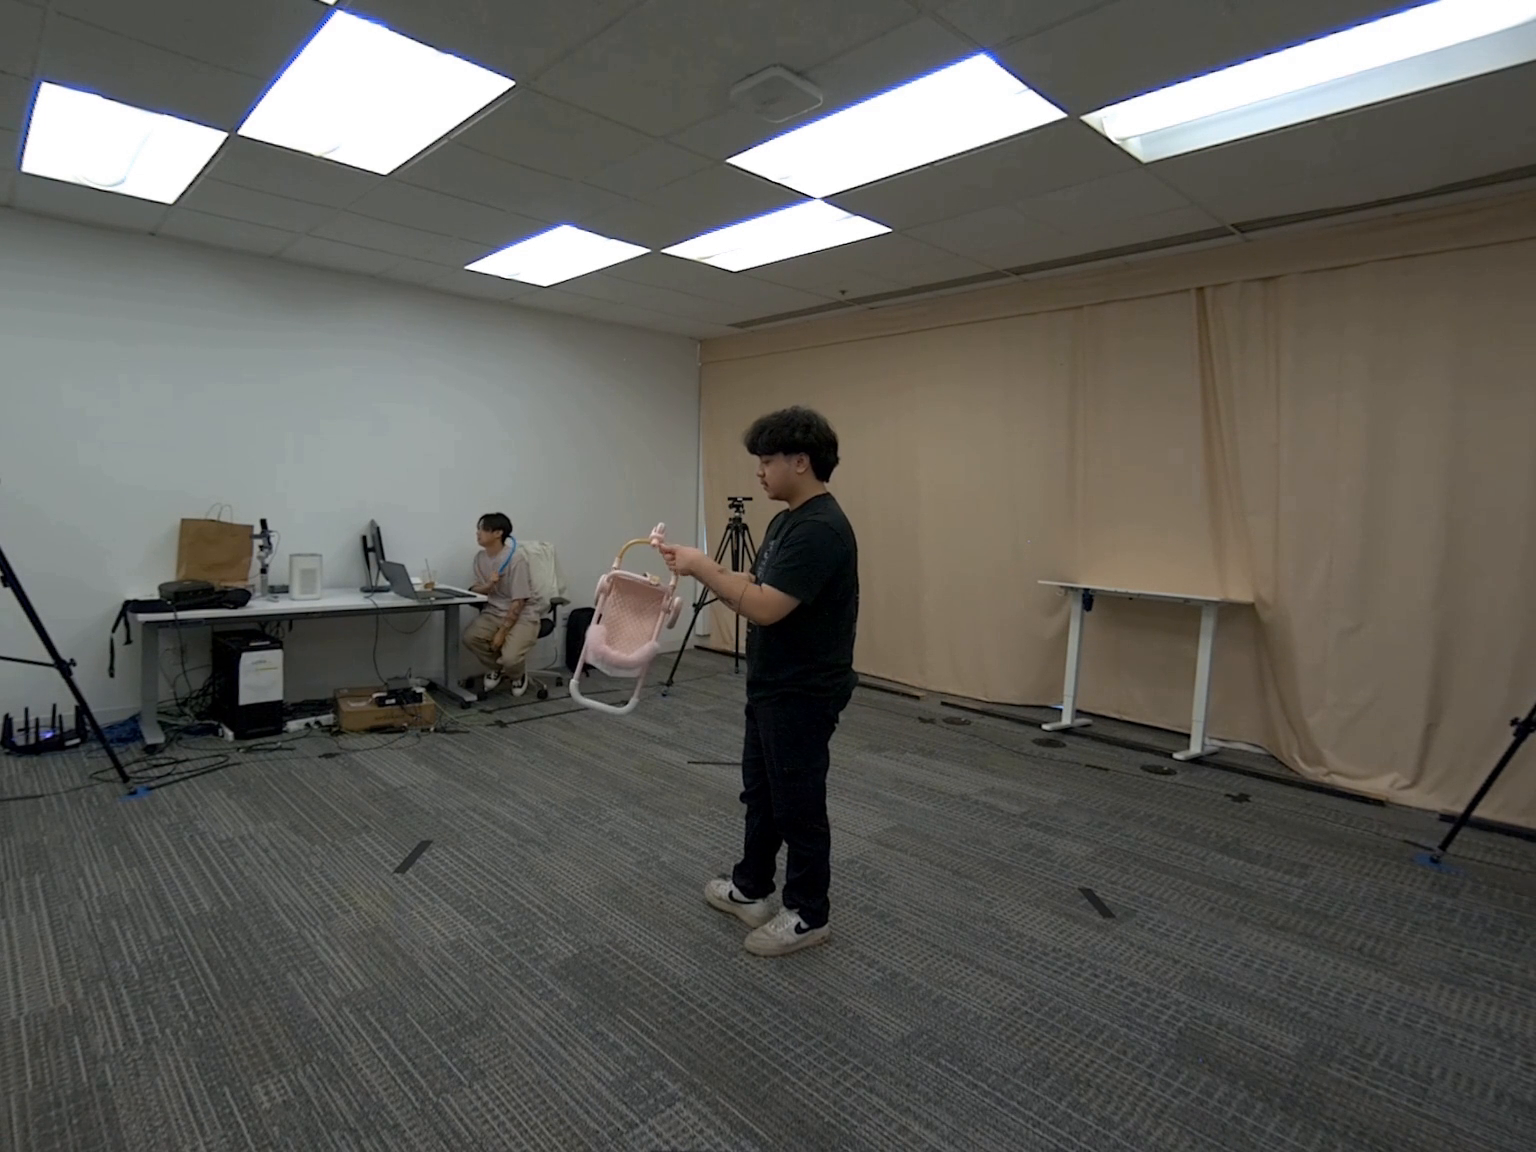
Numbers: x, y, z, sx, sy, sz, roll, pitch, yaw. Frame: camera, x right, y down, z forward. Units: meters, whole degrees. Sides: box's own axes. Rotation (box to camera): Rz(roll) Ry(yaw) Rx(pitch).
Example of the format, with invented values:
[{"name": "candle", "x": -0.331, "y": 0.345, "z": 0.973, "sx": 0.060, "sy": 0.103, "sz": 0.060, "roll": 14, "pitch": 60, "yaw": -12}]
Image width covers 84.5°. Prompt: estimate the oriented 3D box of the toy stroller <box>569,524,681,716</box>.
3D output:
[{"name": "toy stroller", "x": -0.414, "y": 0.112, "z": 2.579, "sx": 0.280, "sy": 0.338, "sz": 0.543, "roll": 21, "pitch": 42, "yaw": -7}]
